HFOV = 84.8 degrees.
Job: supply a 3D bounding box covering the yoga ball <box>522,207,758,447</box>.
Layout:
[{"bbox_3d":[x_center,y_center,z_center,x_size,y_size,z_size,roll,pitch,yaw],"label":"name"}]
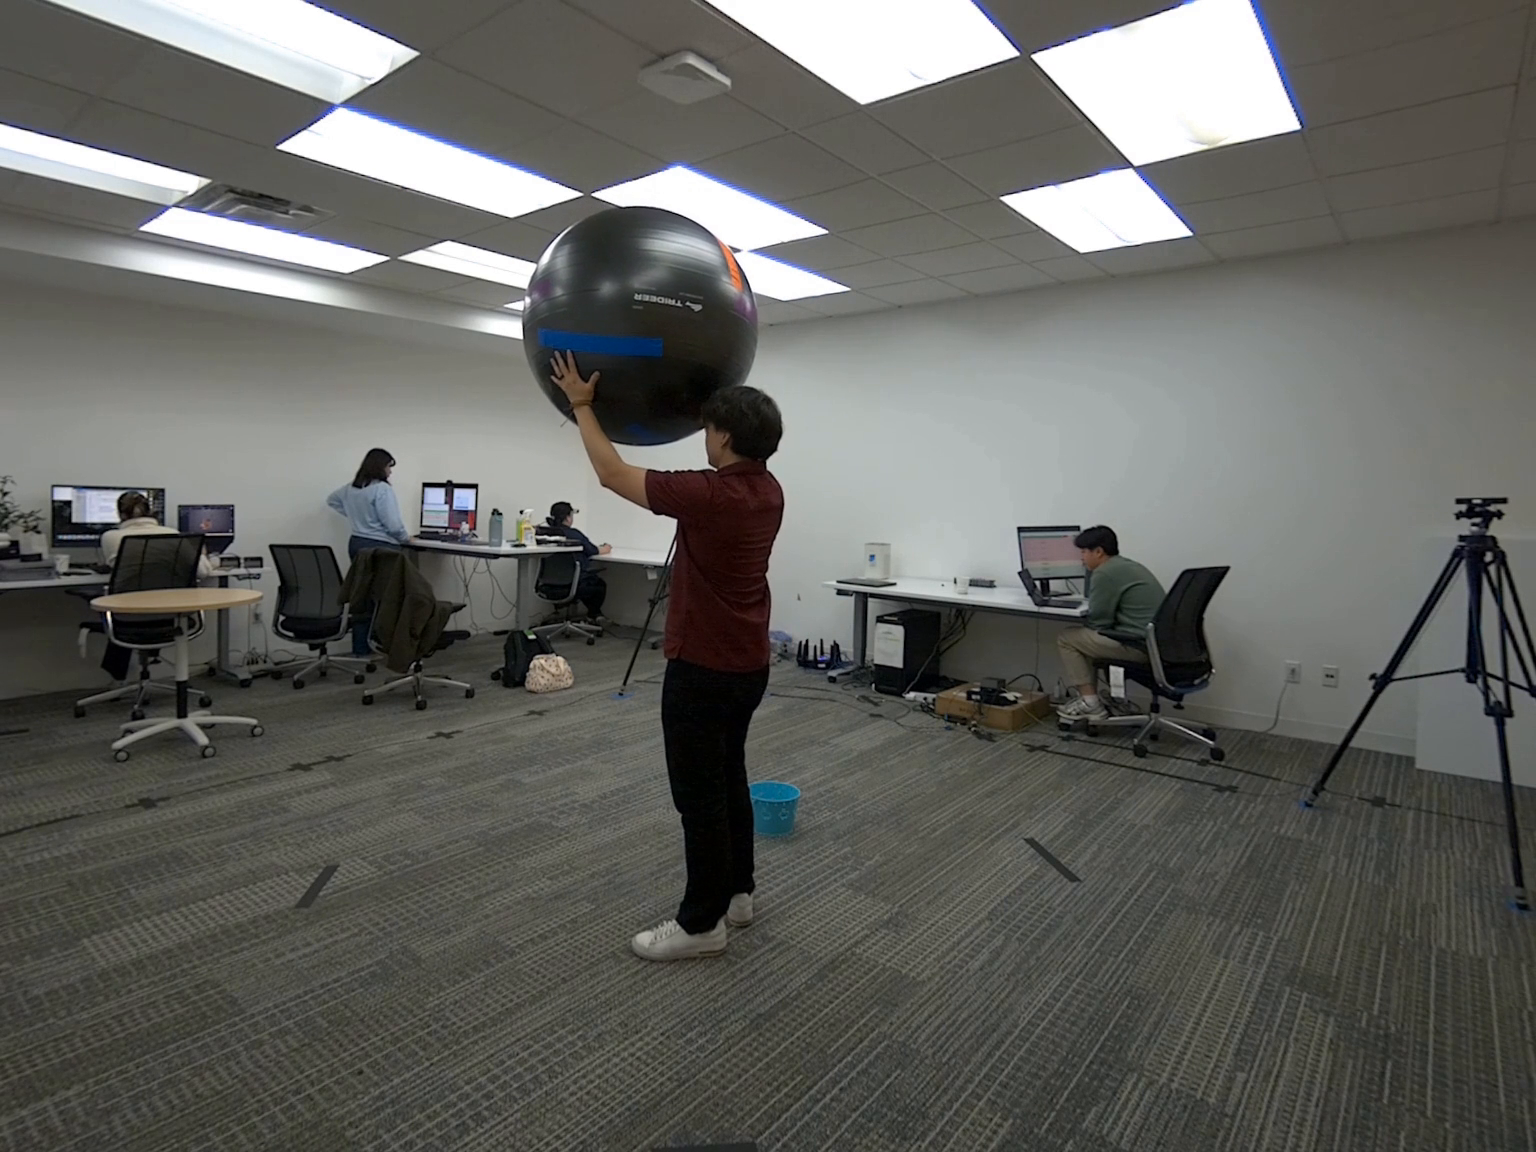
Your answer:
[{"bbox_3d":[-0.421,-0.802,2.762,0.757,0.755,0.762,1,4,-2],"label":"yoga ball"}]
